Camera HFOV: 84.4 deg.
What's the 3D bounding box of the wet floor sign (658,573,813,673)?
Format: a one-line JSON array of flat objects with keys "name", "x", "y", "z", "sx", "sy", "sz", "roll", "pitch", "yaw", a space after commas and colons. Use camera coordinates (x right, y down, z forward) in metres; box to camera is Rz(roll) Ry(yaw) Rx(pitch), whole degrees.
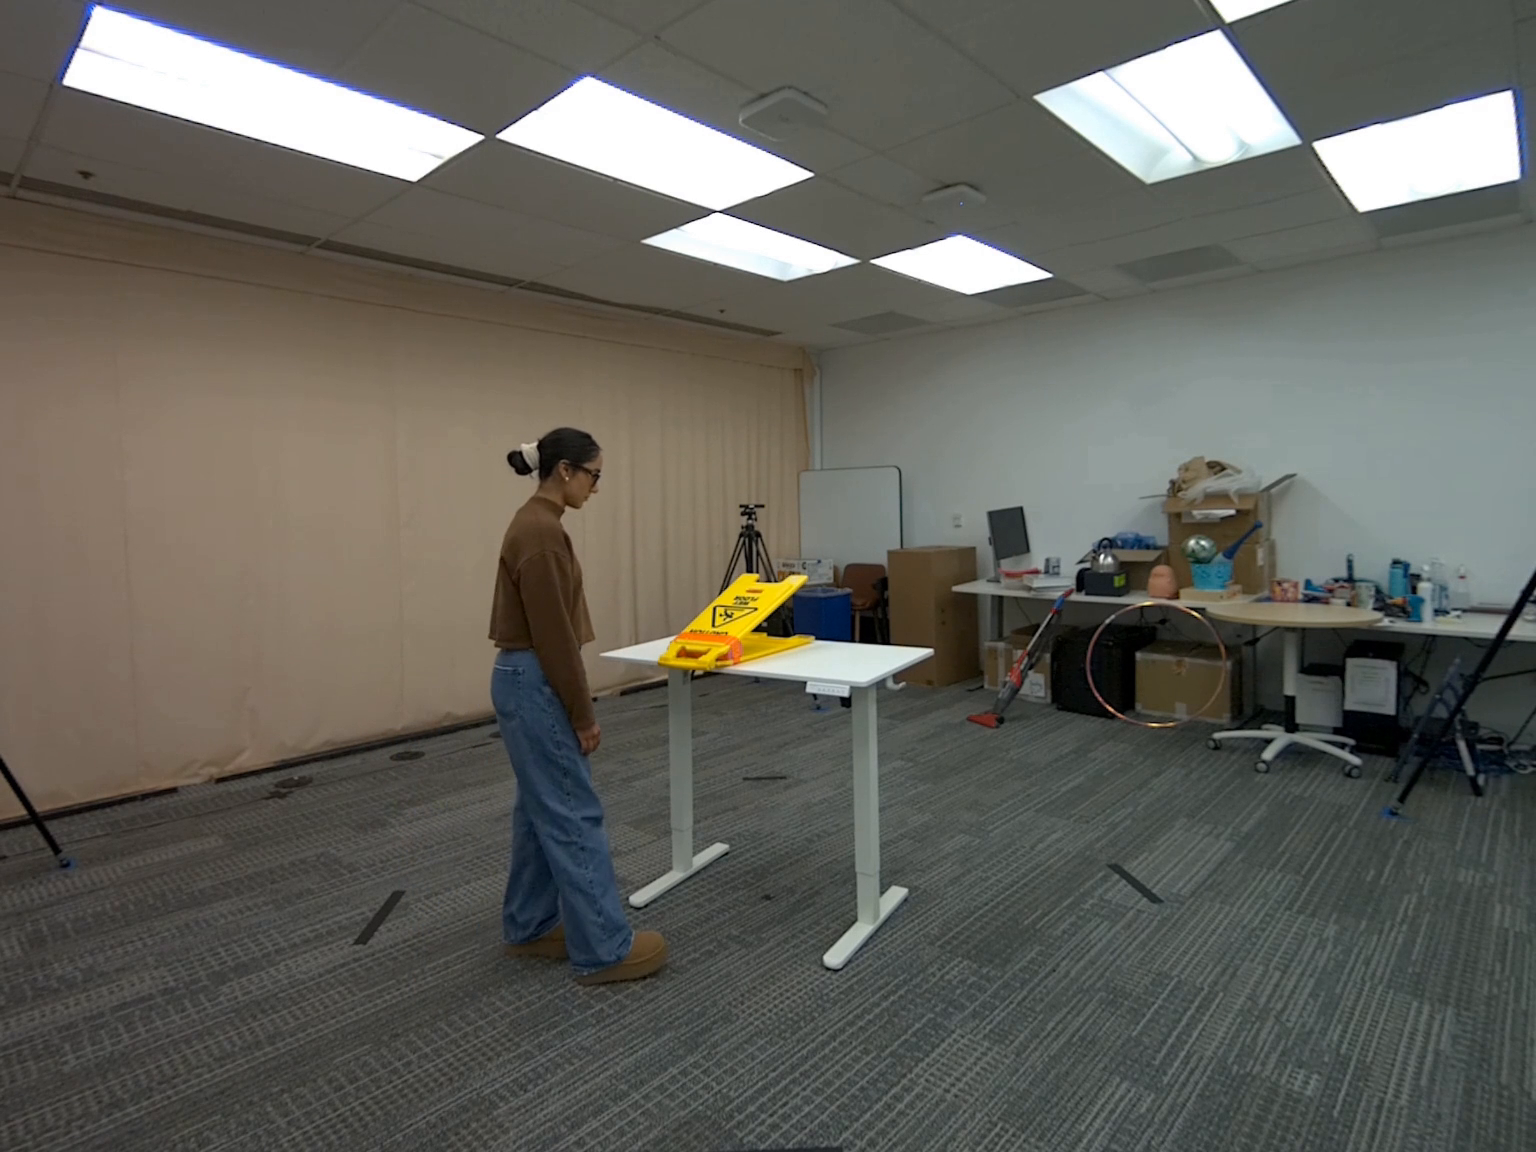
[{"name": "wet floor sign", "x": -0.104, "y": 0.201, "z": 2.886, "sx": 0.290, "sy": 0.287, "sz": 0.633, "roll": 0, "pitch": 14, "yaw": 29}]
